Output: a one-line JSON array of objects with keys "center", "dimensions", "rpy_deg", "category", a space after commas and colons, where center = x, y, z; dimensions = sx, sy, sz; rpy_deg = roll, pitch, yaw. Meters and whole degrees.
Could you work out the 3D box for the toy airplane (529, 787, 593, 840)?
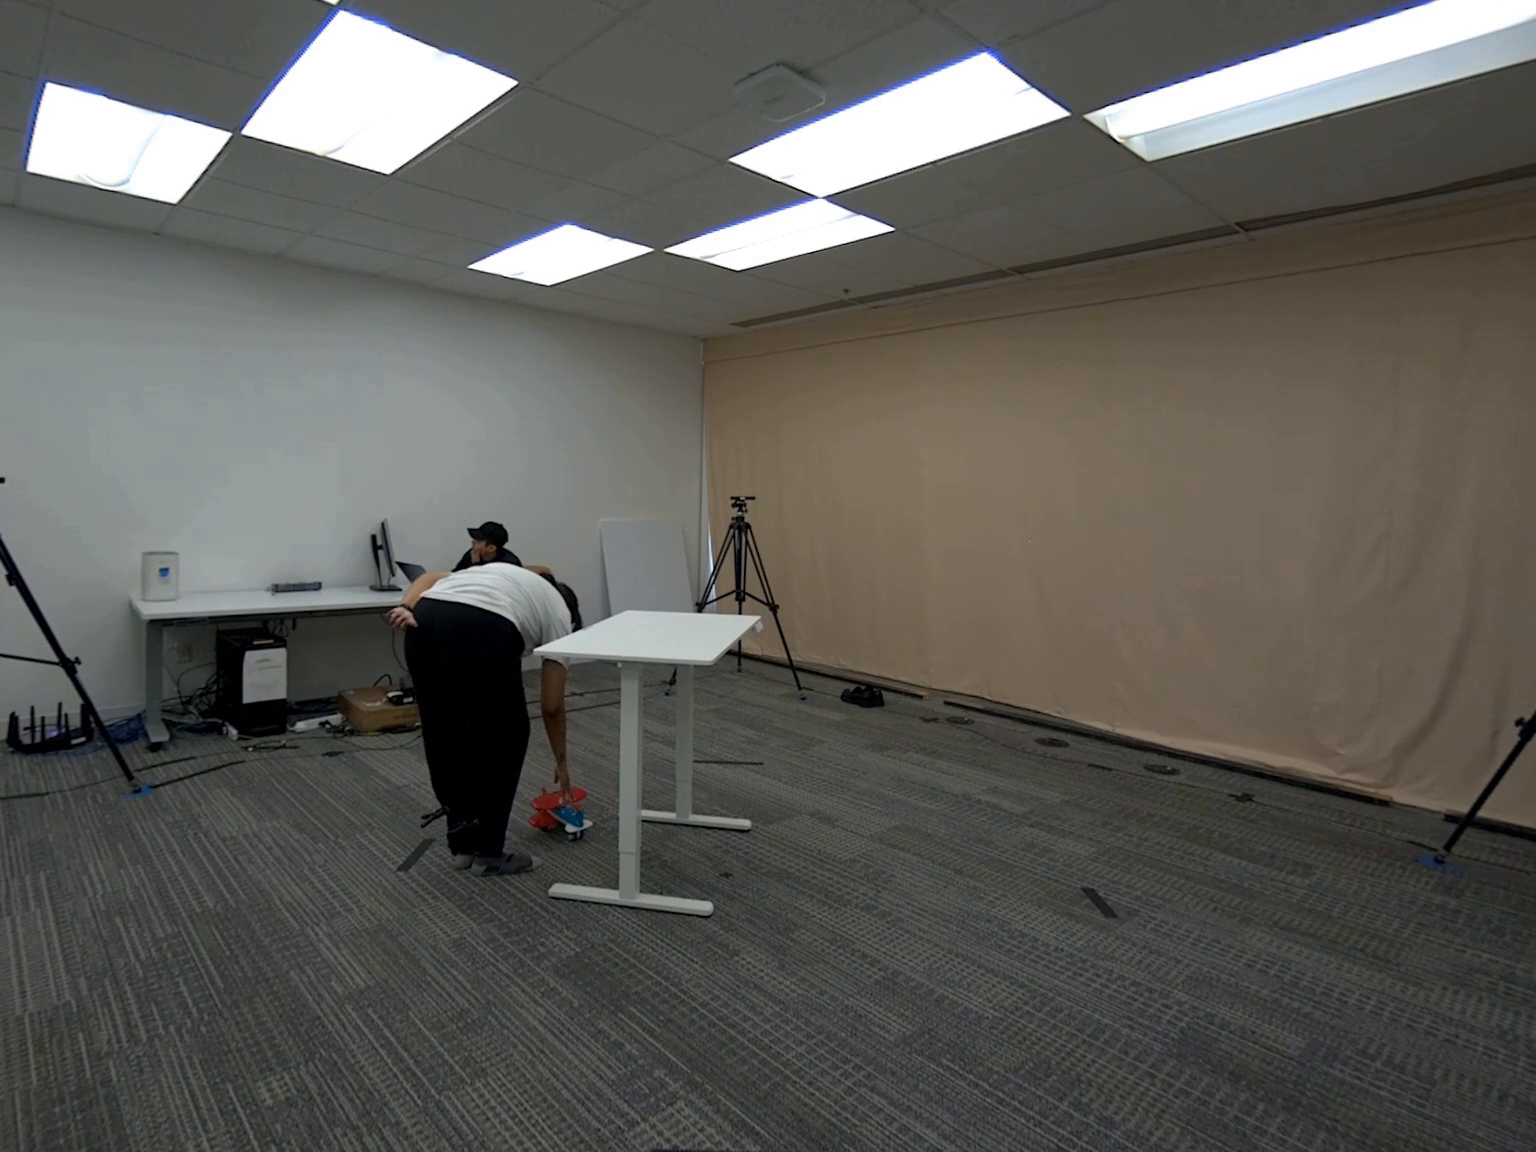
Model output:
[{"center": [-0.842, 0.984, 3.473], "dimensions": [0.262, 0.156, 0.249], "rpy_deg": [1, 4, 14], "category": "toy airplane"}]
